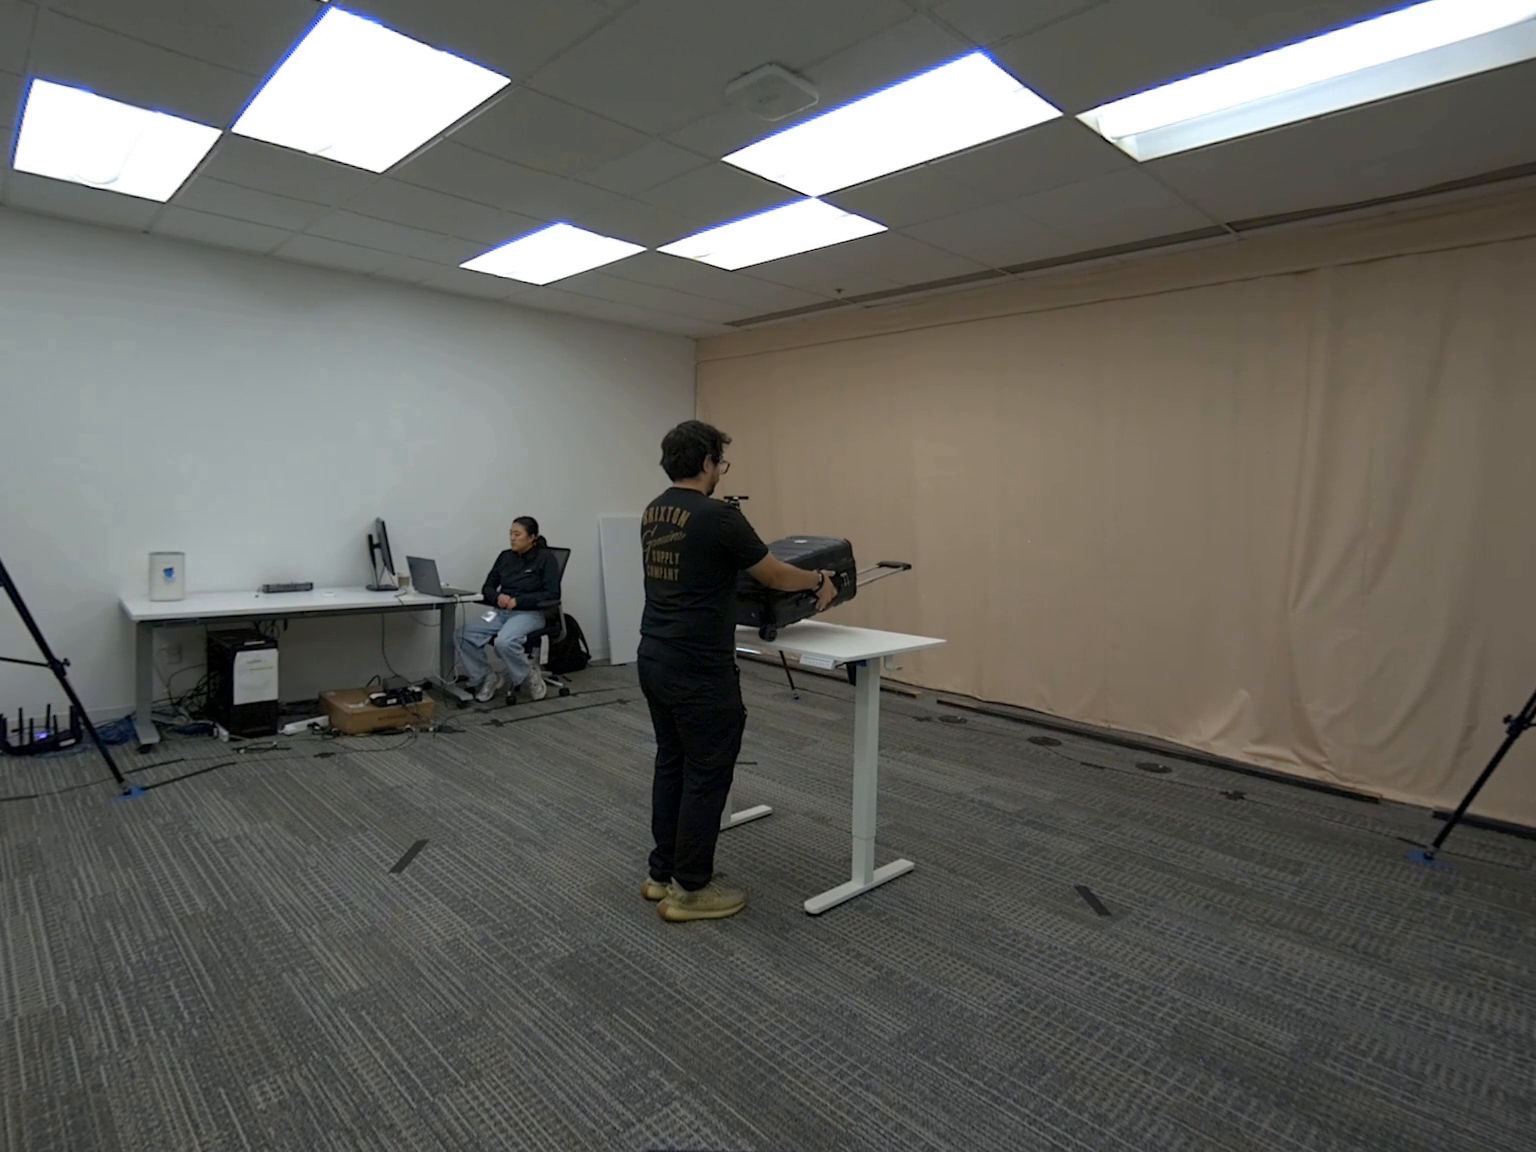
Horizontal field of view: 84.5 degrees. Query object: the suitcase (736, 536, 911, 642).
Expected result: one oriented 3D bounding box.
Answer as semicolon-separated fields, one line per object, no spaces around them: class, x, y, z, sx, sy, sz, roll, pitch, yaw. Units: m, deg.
suitcase;0.206;-0.035;3.363;0.393;0.254;0.965;4;19;45
